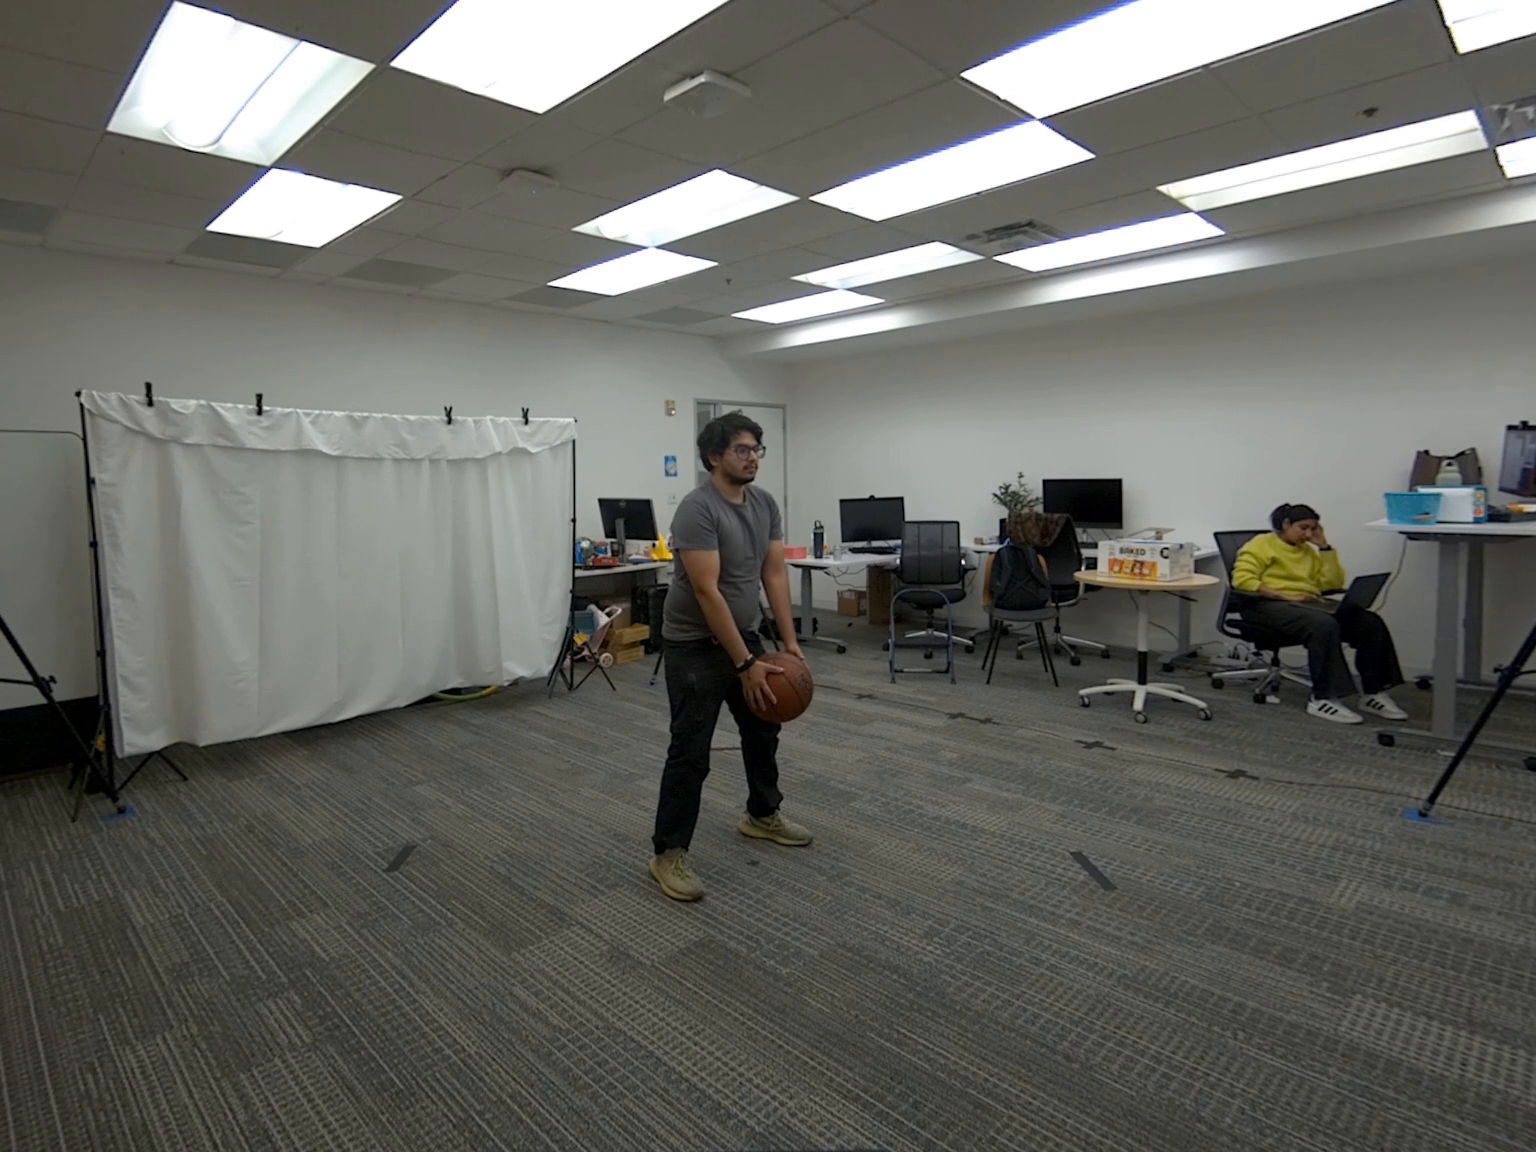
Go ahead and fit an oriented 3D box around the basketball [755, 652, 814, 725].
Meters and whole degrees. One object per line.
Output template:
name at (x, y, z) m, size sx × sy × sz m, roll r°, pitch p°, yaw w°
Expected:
basketball at (0.032, 0.380, 2.903) m, size 0.236 × 0.235 × 0.237 m, roll -1°, pitch 5°, yaw -2°
